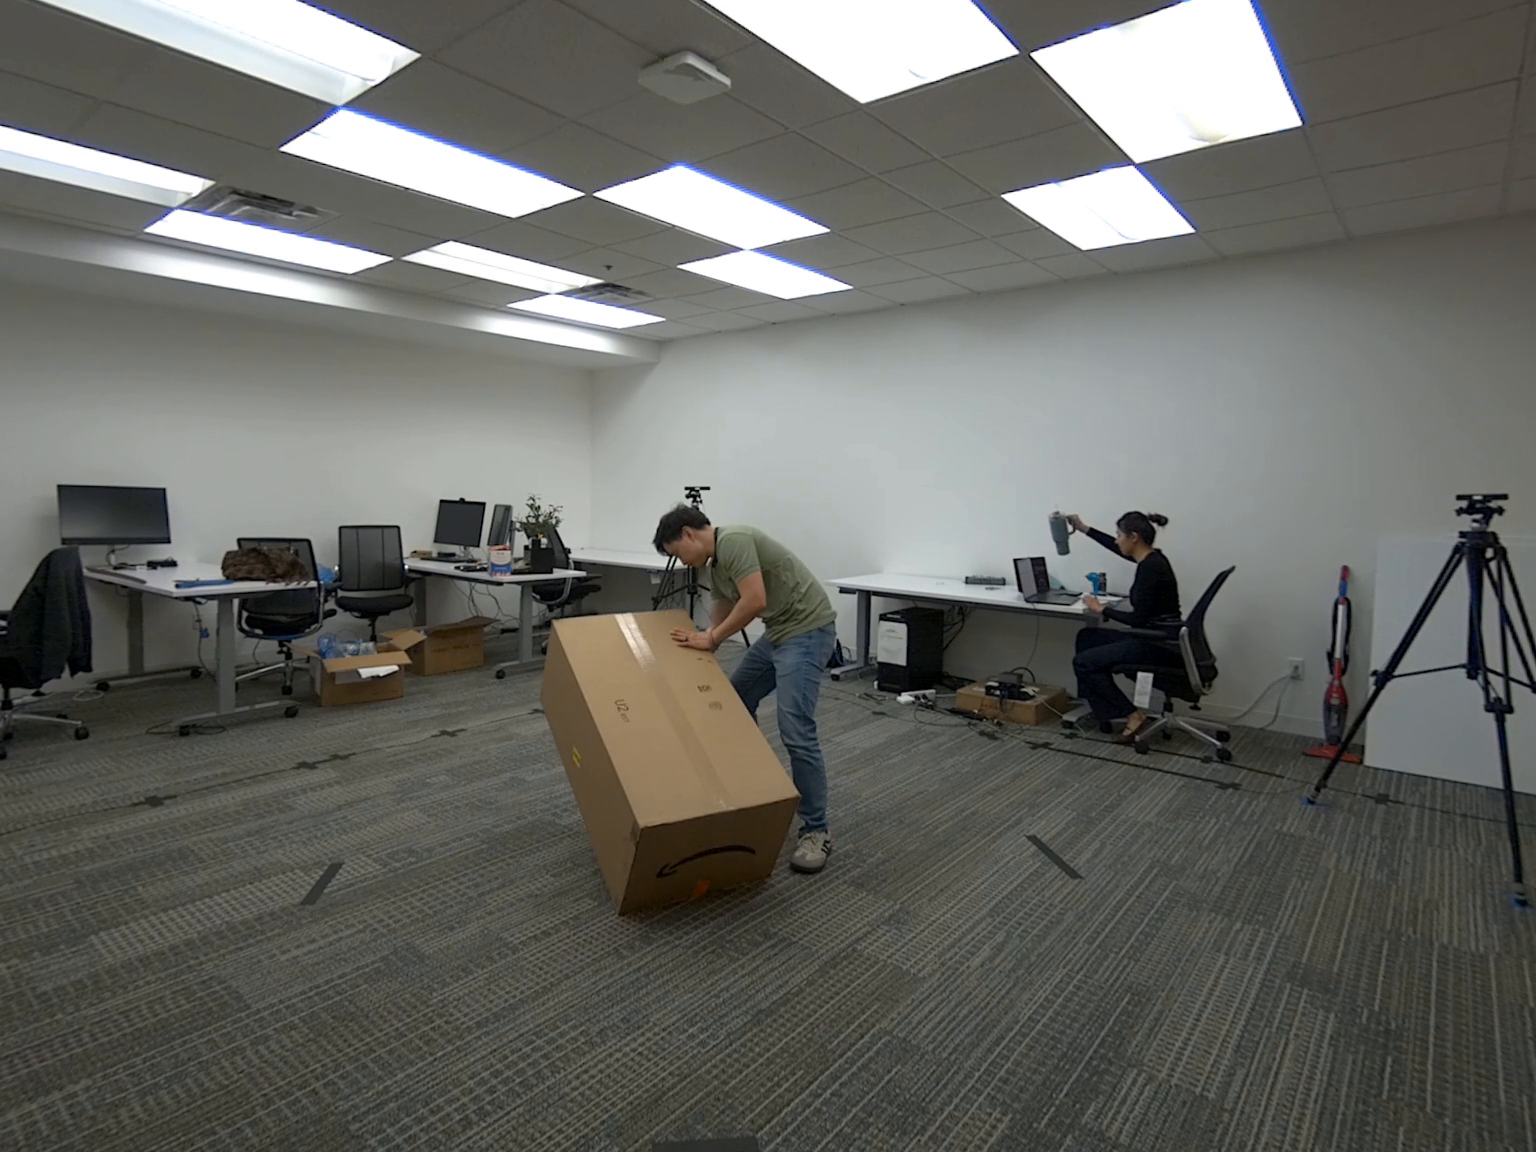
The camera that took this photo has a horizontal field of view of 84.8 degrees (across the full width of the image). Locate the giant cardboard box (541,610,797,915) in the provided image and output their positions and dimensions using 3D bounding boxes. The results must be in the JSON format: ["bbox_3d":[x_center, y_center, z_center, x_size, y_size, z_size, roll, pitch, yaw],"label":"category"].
[{"bbox_3d":[-0.416,0.616,3.149,0.563,0.419,1.070,-4,36,-29],"label":"giant cardboard box"}]
